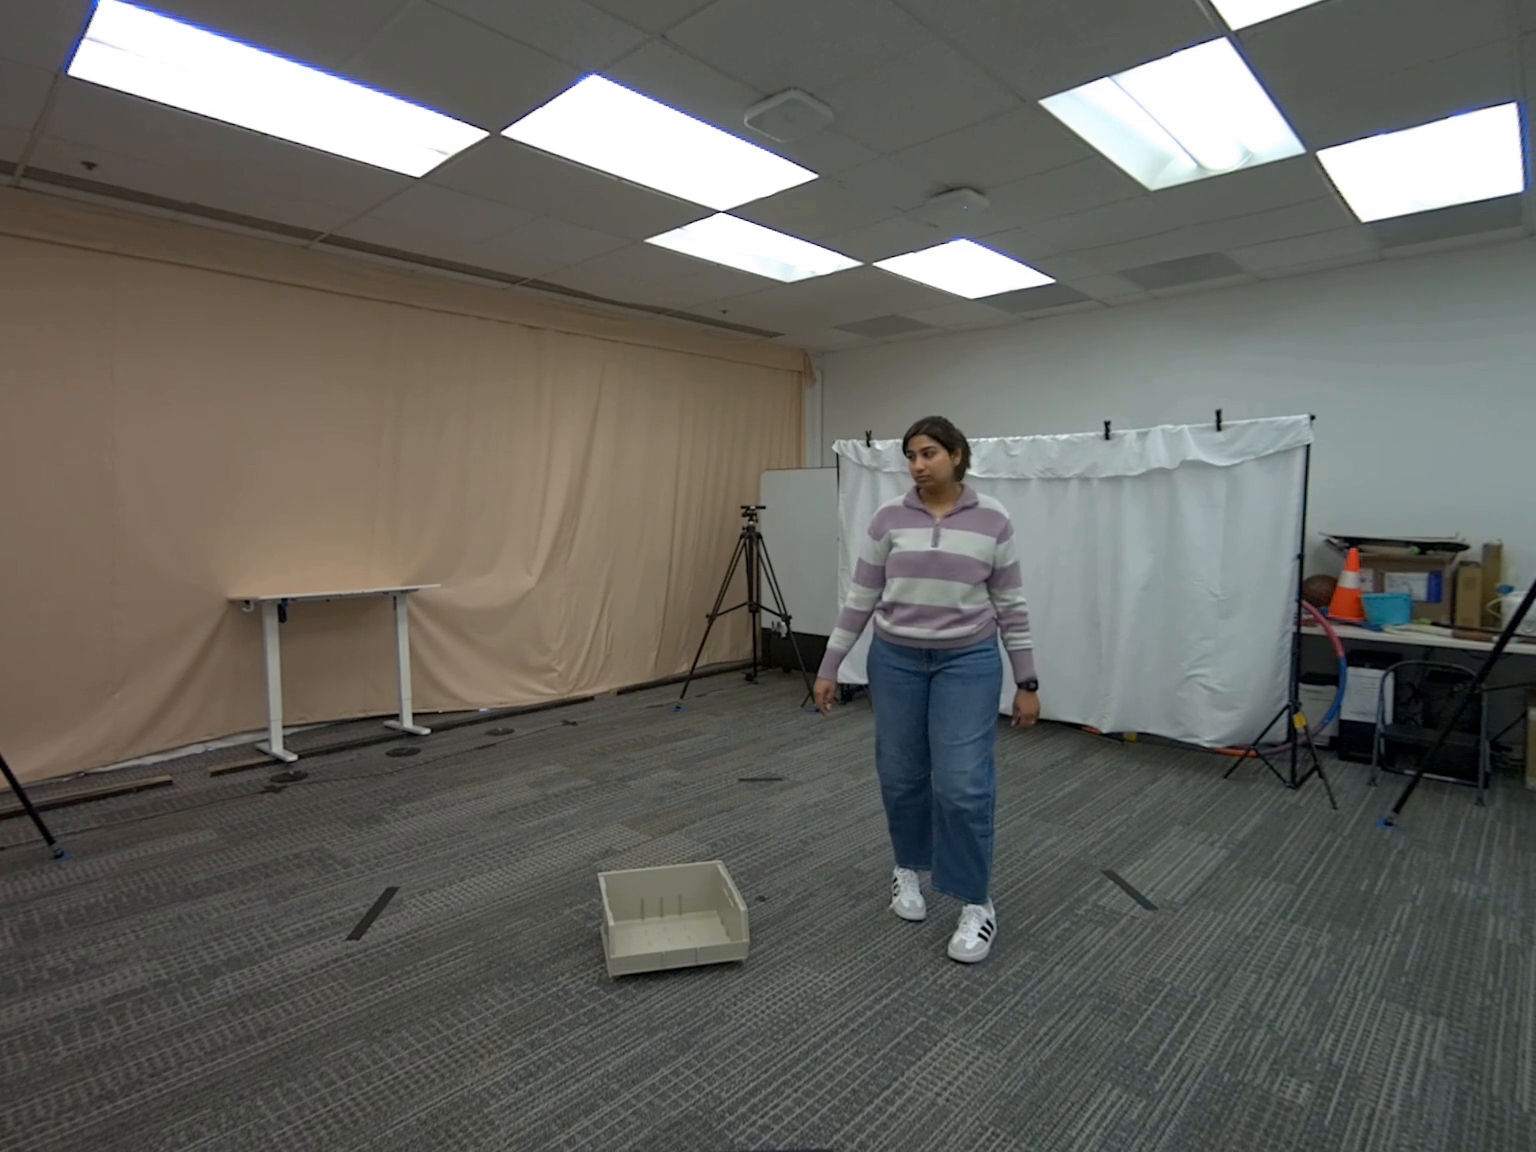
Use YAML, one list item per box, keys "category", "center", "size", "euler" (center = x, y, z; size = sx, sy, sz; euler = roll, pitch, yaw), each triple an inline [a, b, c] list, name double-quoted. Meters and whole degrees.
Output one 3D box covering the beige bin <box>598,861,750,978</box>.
- category: "beige bin"
  center: [-0.307, 1.086, 2.656]
  size: [0.416, 0.188, 0.384]
  euler: [-2, 4, -14]
